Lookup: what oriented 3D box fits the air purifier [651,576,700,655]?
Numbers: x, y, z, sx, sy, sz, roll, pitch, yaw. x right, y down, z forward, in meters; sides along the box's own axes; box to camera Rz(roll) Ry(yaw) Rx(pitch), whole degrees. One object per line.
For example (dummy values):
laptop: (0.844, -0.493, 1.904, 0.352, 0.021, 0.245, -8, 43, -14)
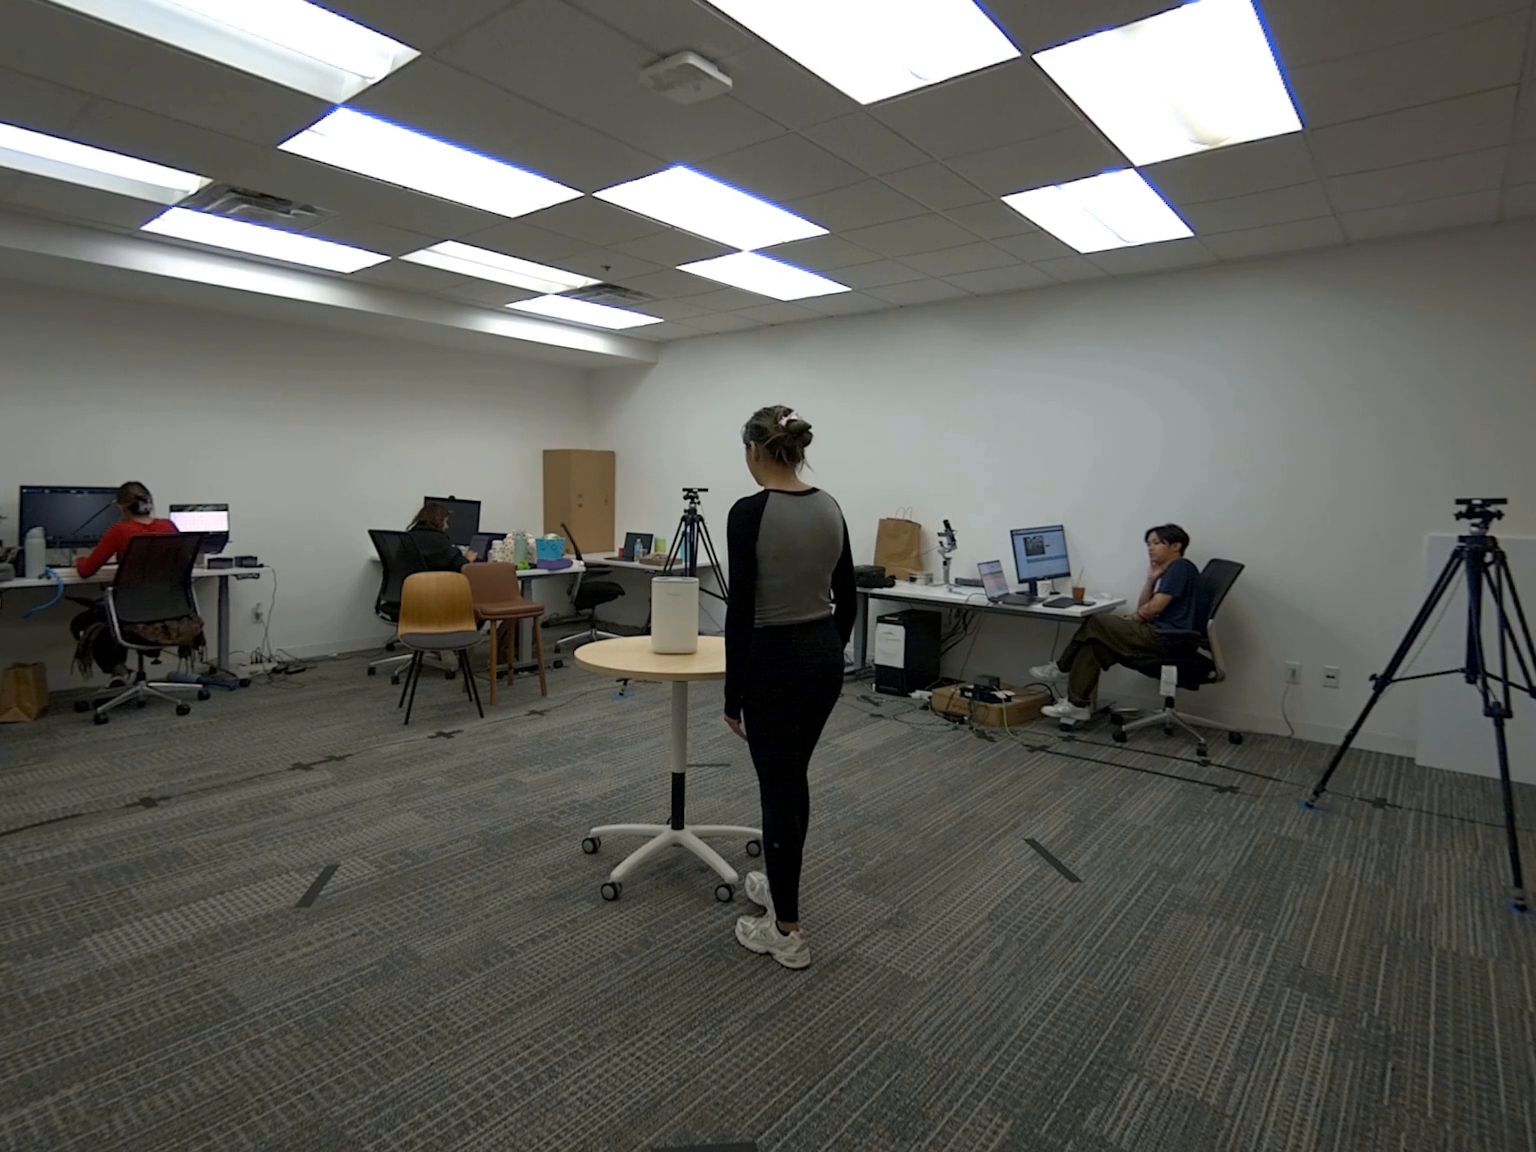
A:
air purifier: (-0.353, 0.142, 3.113, 0.169, 0.264, 0.173, -1, 3, -9)
